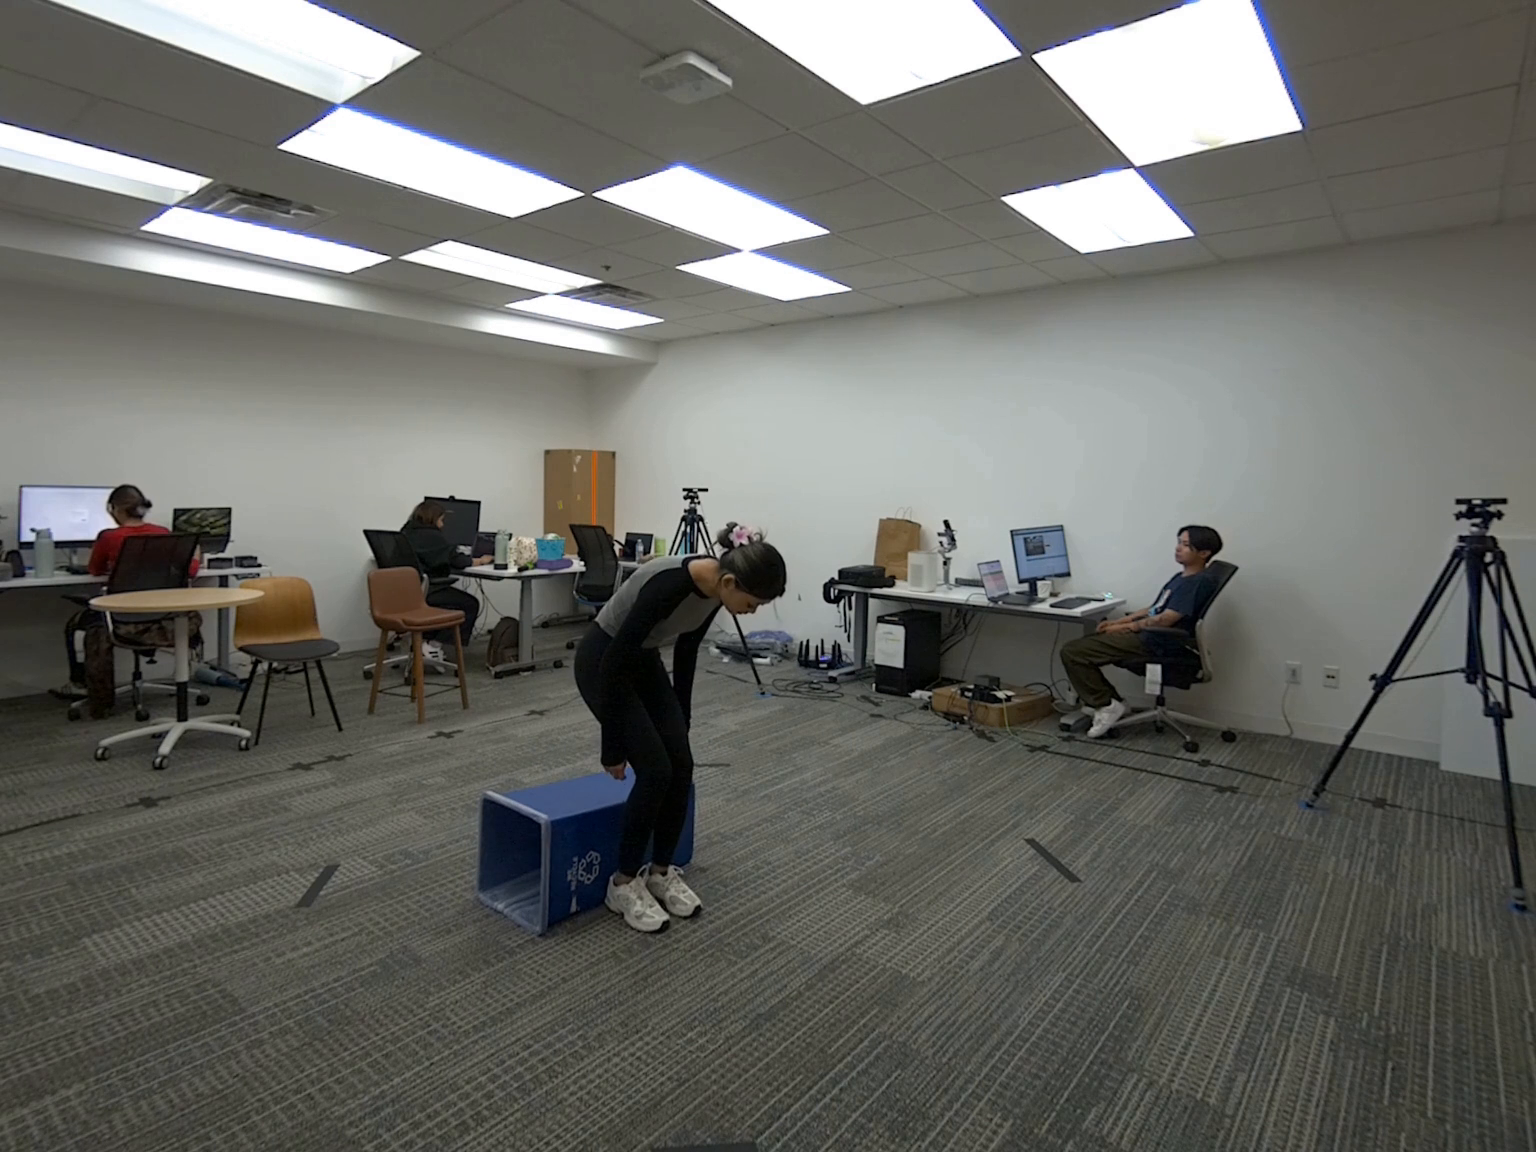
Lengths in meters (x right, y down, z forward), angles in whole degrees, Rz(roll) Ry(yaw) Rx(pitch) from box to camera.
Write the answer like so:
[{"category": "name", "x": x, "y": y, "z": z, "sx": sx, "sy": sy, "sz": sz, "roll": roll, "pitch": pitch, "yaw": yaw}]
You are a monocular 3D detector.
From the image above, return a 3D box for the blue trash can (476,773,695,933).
[{"category": "blue trash can", "x": -0.627, "y": 0.901, "z": 2.998, "sx": 0.390, "sy": 0.373, "sz": 0.692, "roll": 3, "pitch": 4, "yaw": 39}]
